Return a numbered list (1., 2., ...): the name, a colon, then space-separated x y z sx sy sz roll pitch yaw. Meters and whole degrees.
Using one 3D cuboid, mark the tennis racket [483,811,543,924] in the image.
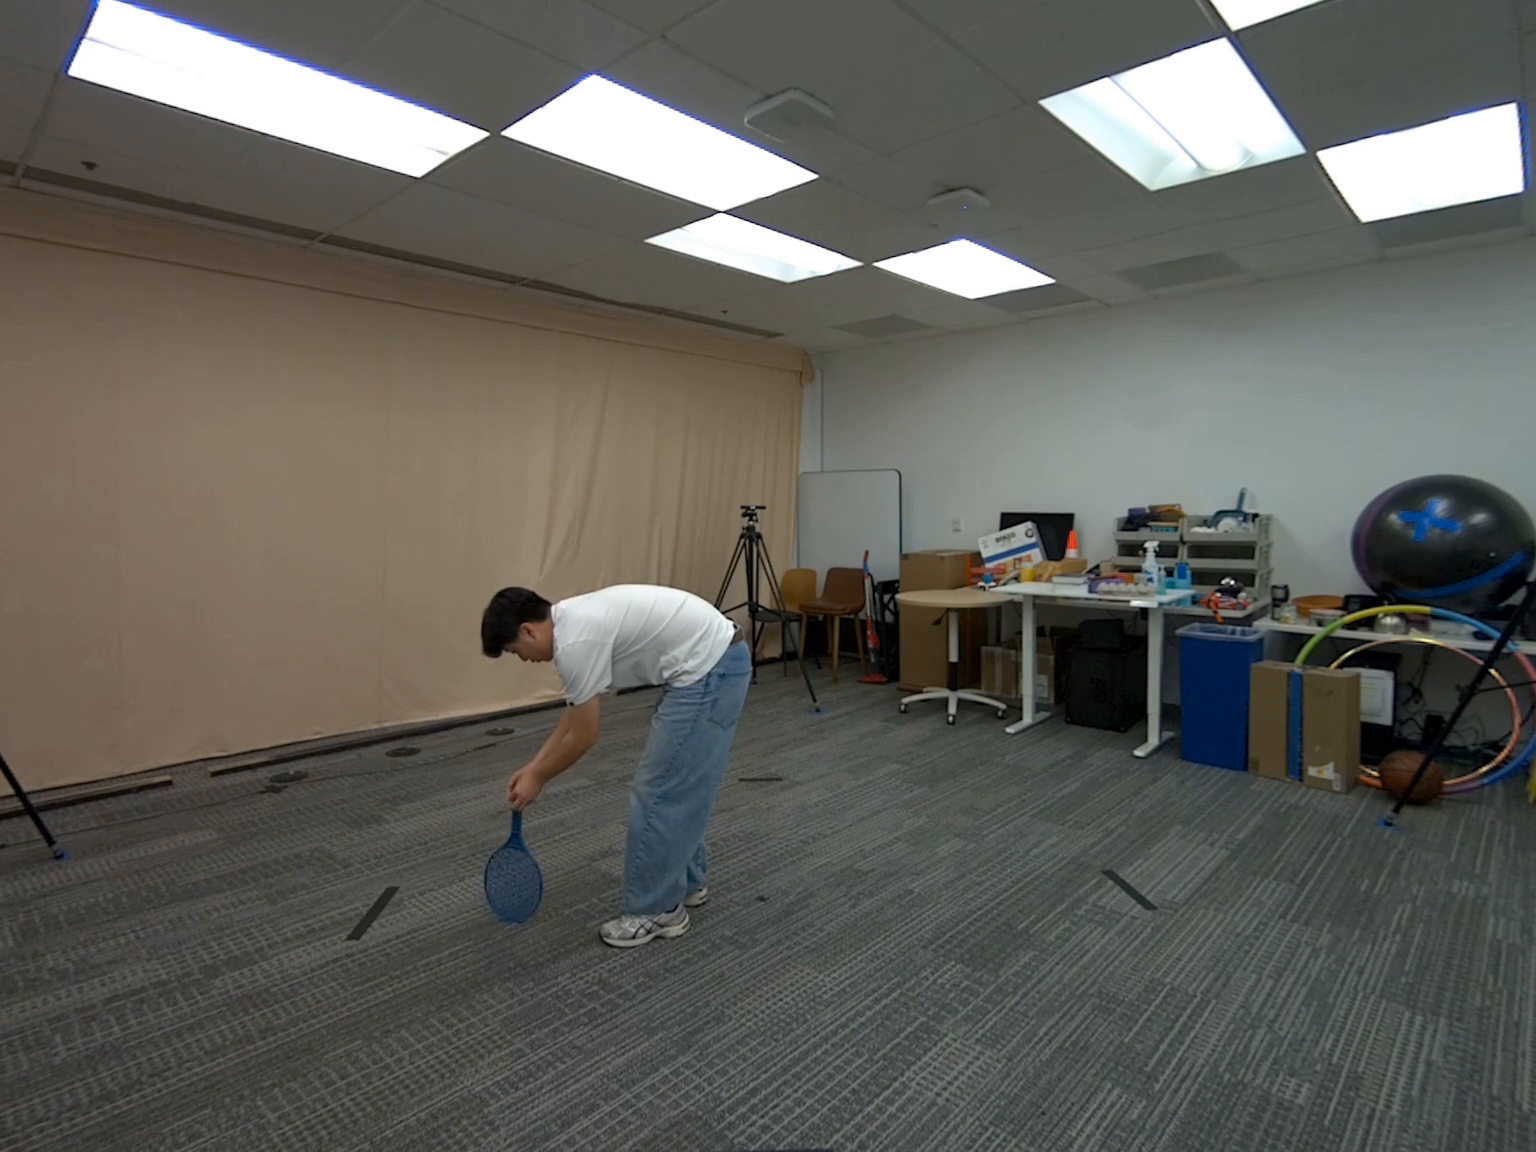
1. tennis racket: -0.850 0.956 2.809 0.217 0.432 0.031 4 4 16
